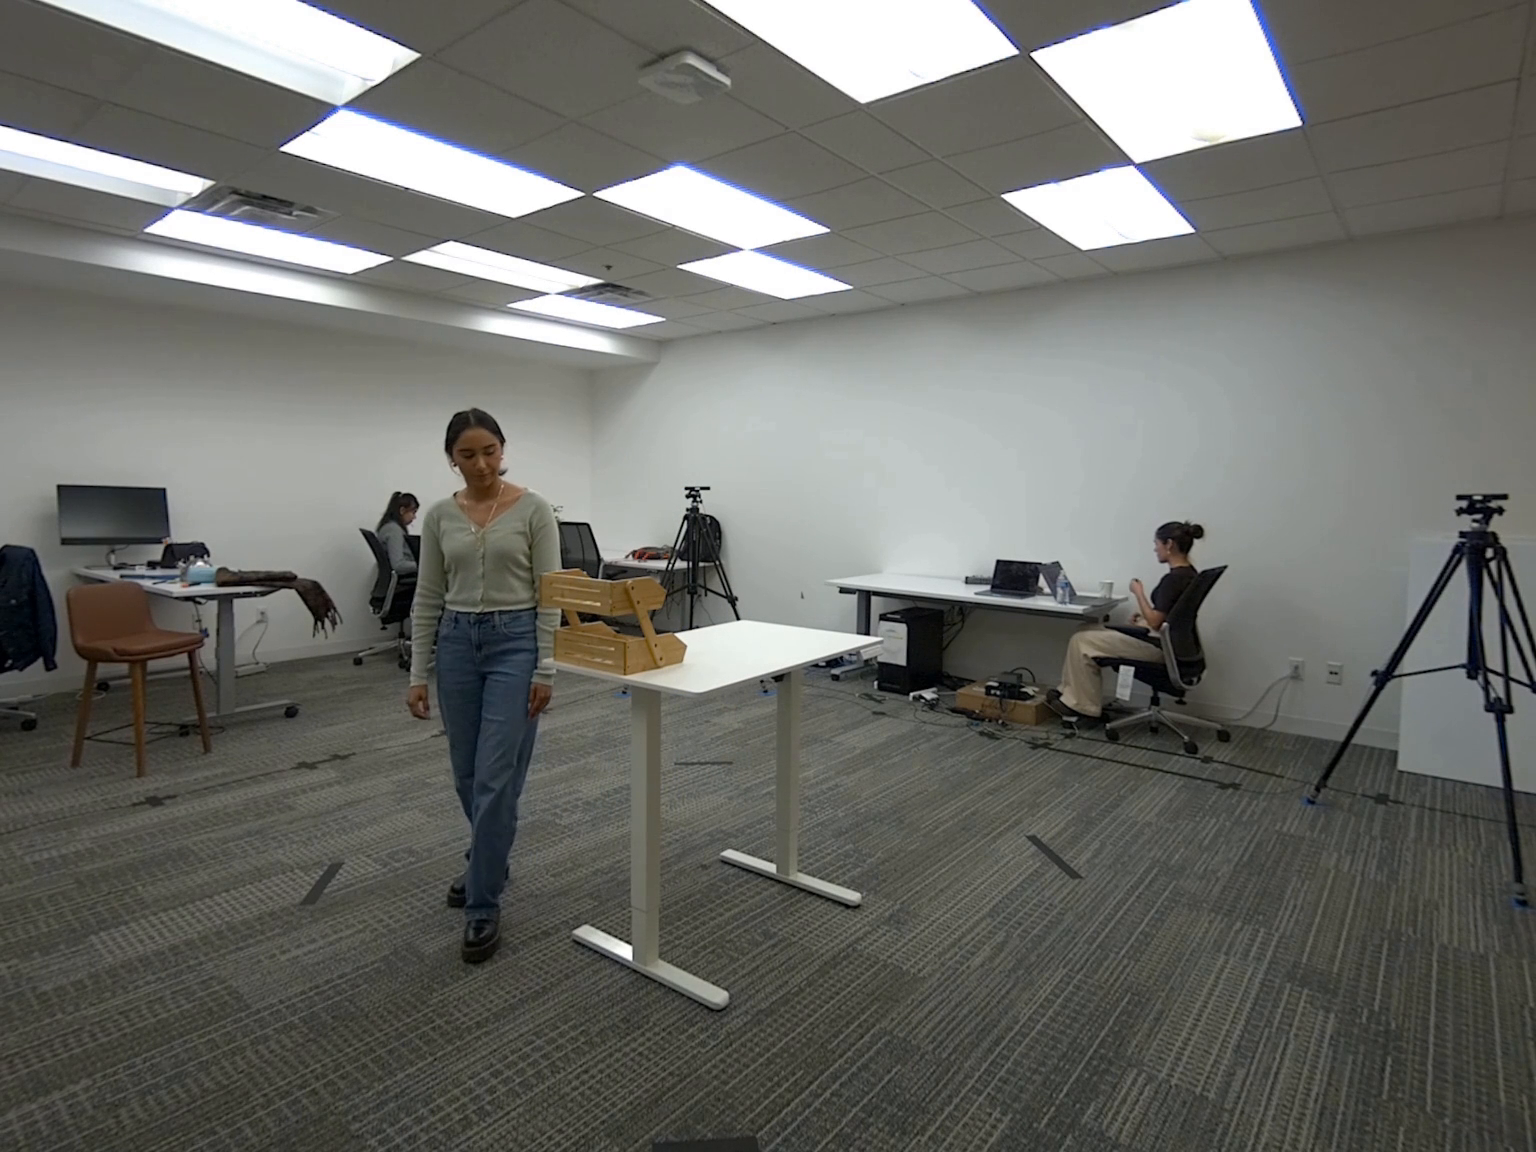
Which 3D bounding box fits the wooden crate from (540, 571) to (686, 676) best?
[{"bbox_3d":[-0.453,0.115,2.454,0.335,0.272,0.294,4,7,37],"label":"wooden crate"}]
